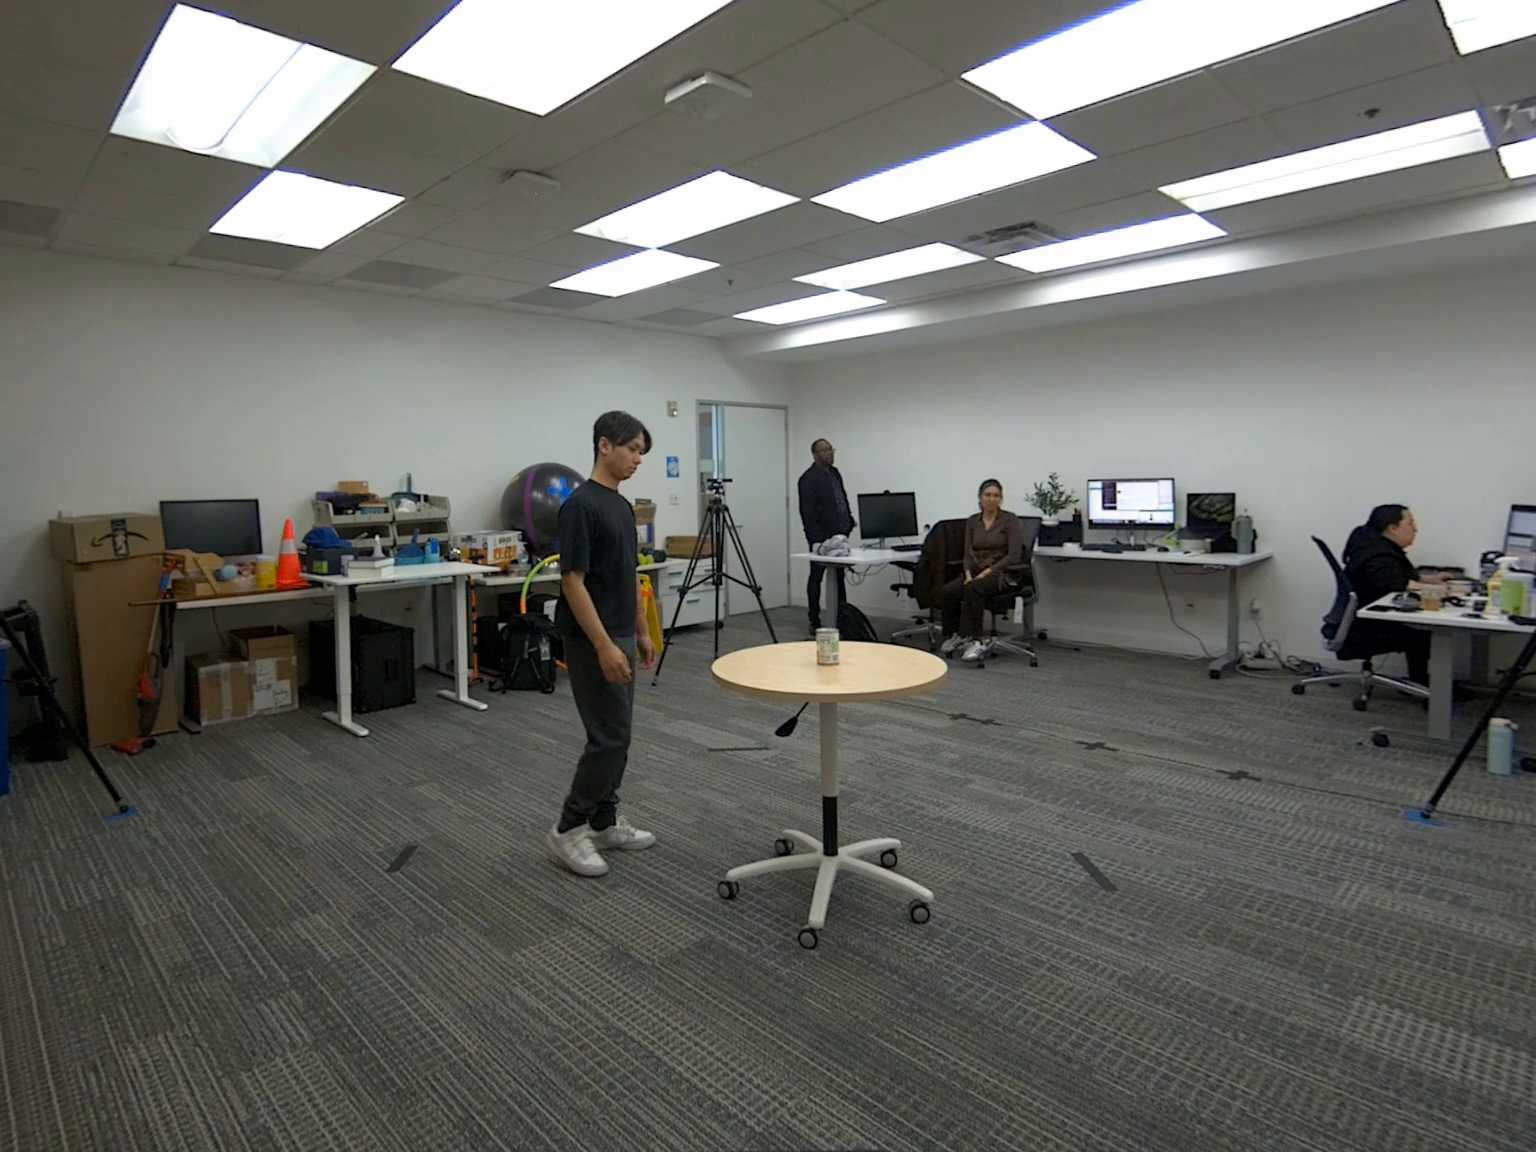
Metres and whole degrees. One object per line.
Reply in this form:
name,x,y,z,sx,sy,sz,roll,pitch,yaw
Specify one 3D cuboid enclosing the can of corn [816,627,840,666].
can of corn,0.196,0.232,2.821,0.074,0.110,0.074,-3,4,-1
